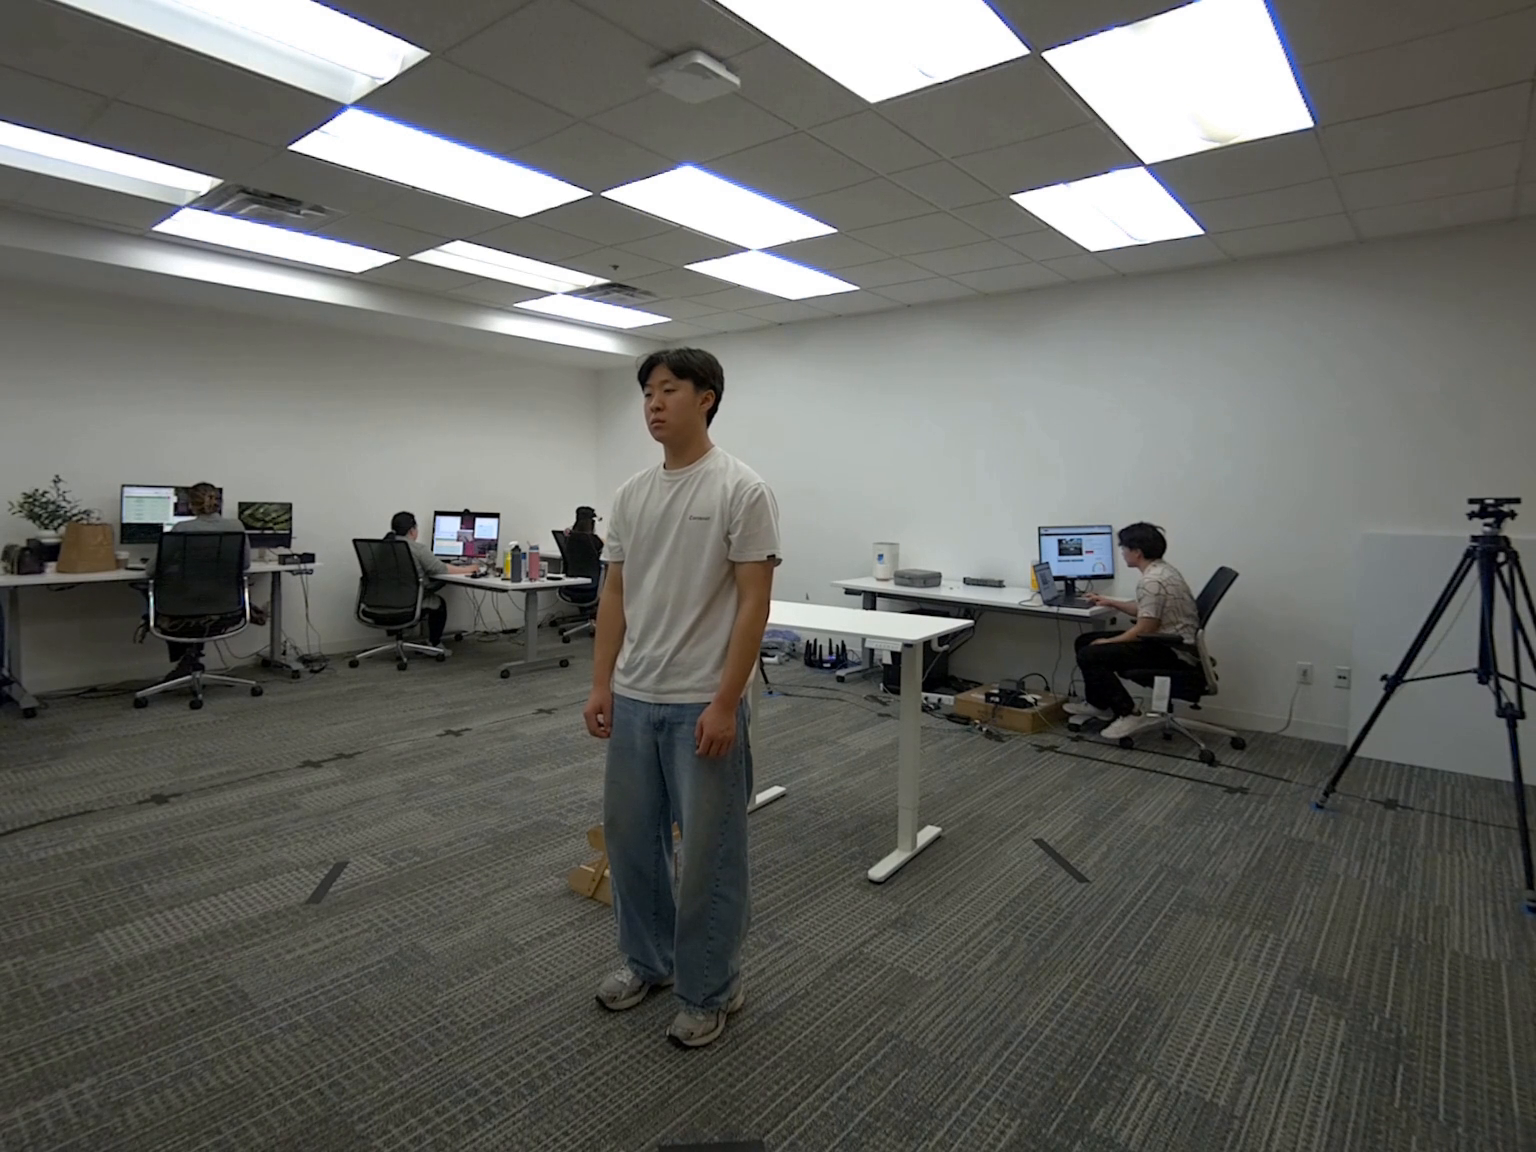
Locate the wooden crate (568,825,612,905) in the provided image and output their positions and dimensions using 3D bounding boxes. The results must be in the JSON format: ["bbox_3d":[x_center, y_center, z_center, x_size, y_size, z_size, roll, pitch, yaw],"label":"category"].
[{"bbox_3d":[-0.494,0.936,2.963,0.312,0.272,0.315,4,5,34],"label":"wooden crate"}]
